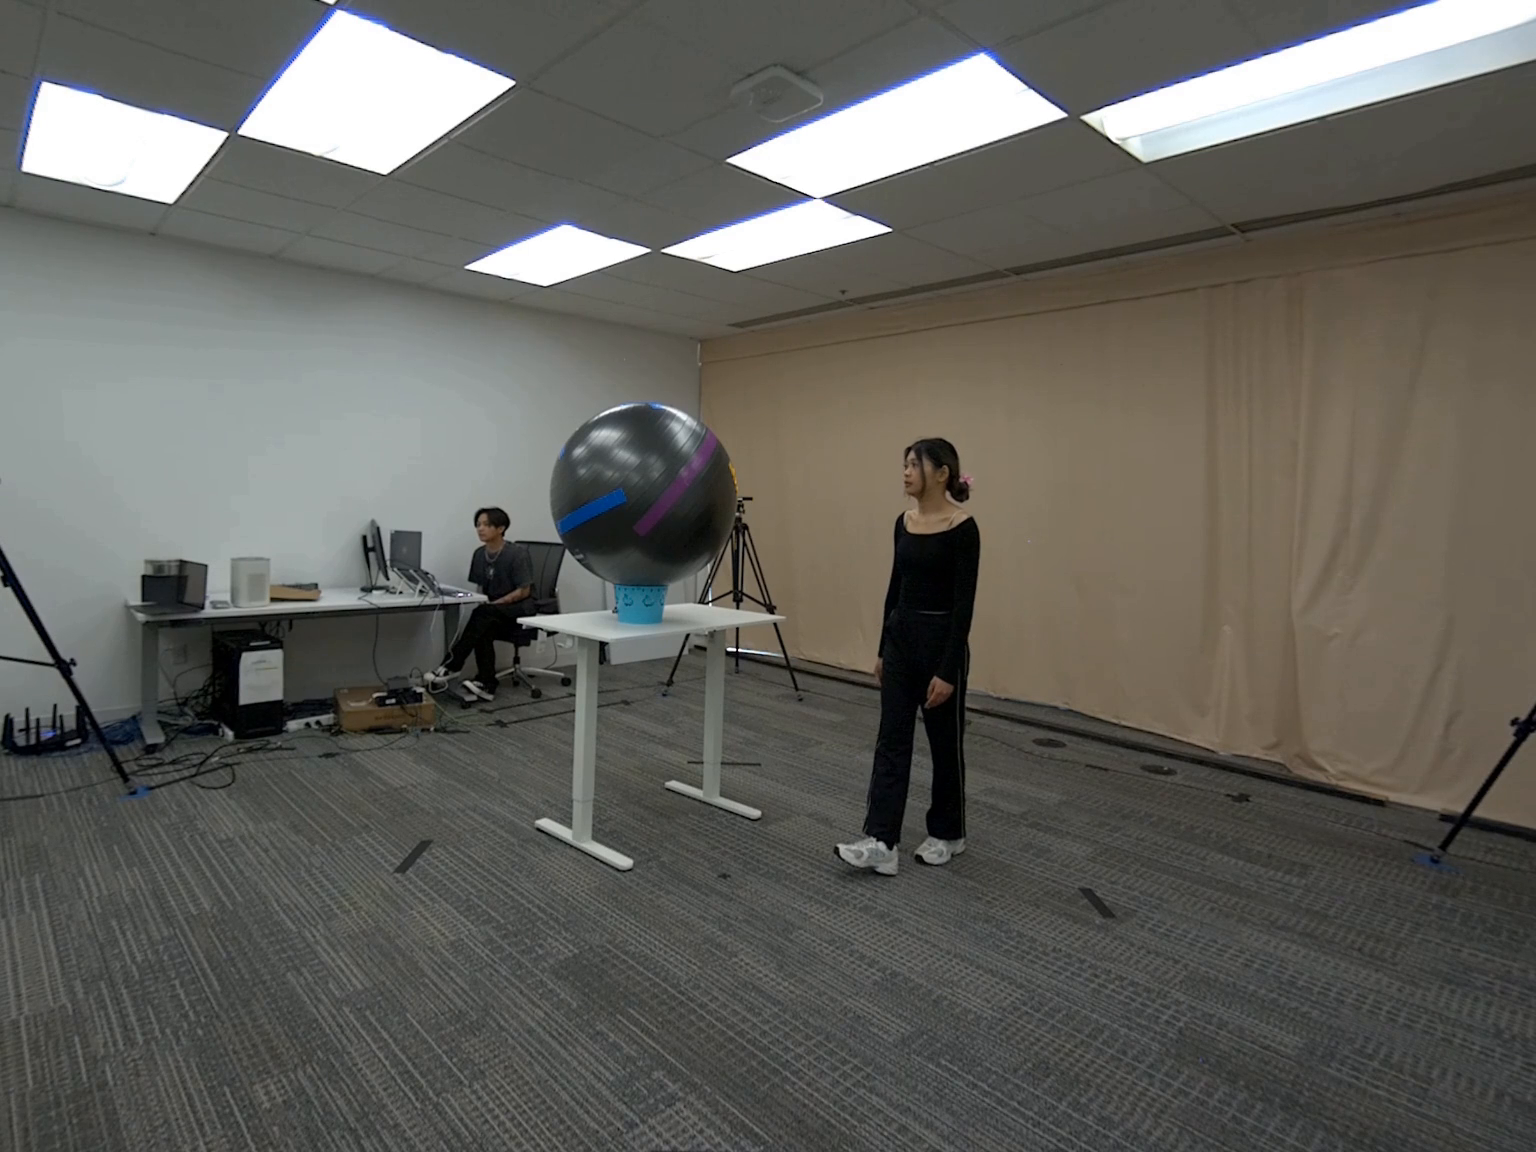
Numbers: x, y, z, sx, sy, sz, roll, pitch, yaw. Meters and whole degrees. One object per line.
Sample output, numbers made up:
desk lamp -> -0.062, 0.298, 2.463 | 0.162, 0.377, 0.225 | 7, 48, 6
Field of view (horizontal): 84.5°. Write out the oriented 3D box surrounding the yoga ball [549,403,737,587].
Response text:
yoga ball -> -0.522, -0.324, 3.431 | 0.757, 0.756, 0.760 | 1, 4, -1
